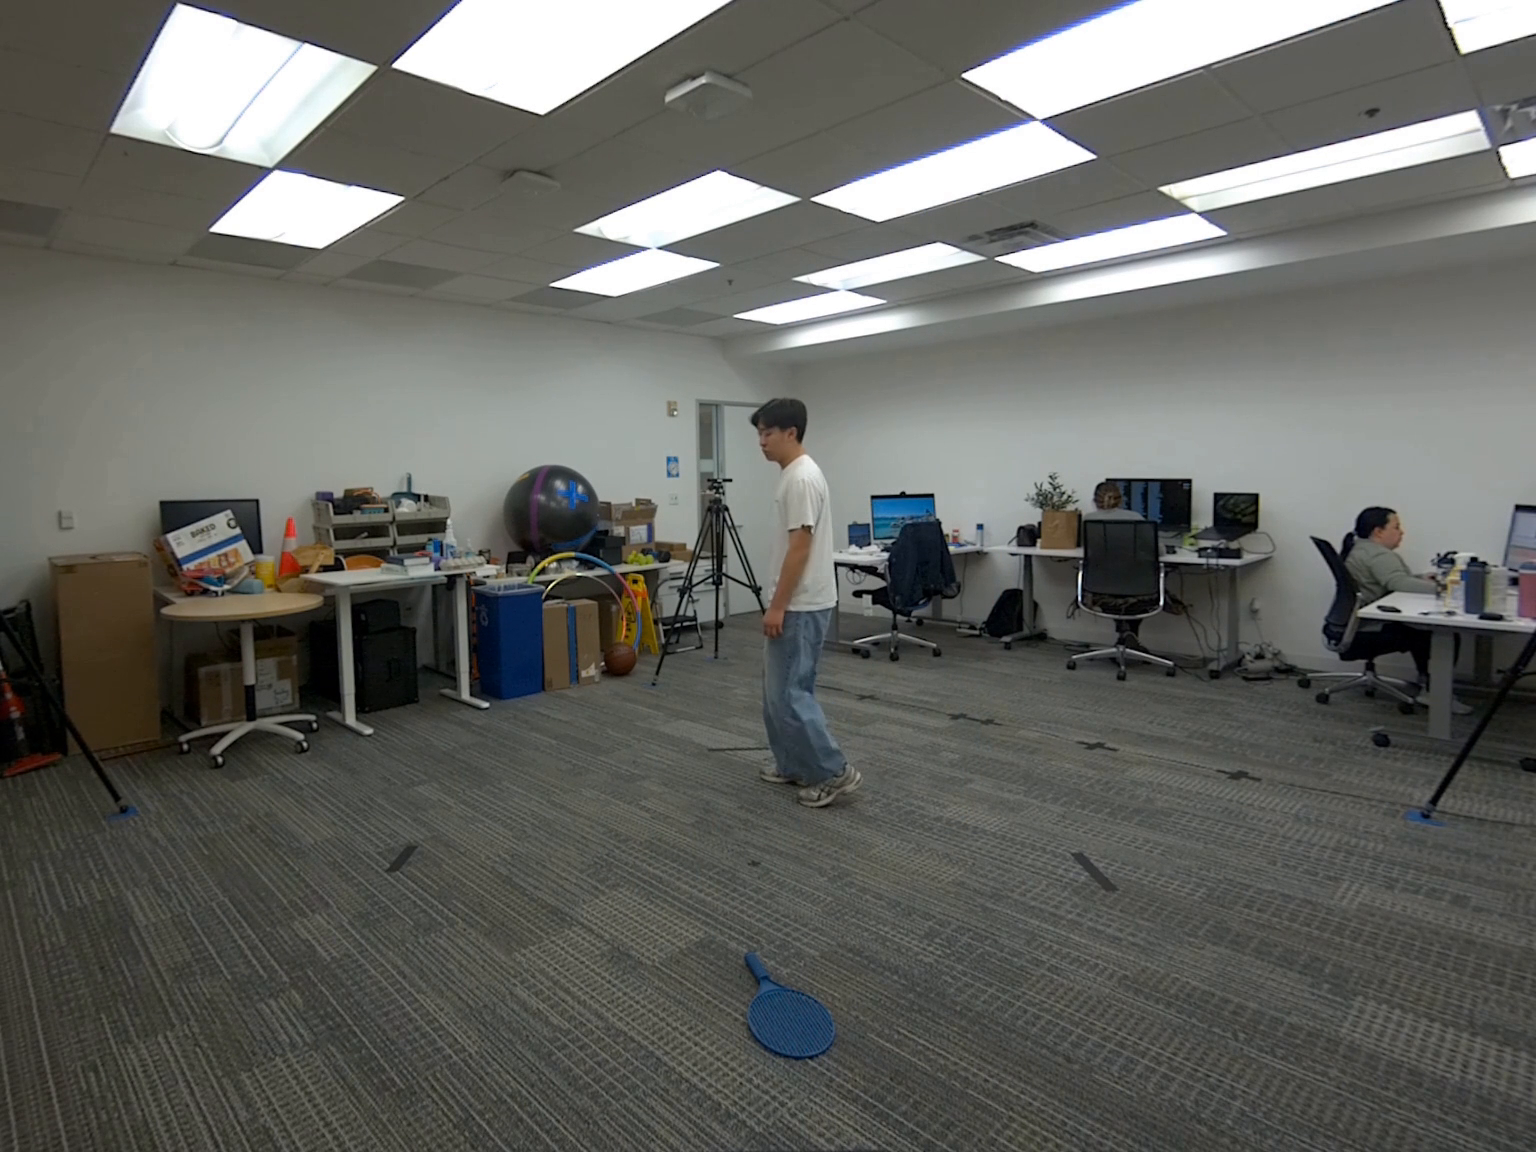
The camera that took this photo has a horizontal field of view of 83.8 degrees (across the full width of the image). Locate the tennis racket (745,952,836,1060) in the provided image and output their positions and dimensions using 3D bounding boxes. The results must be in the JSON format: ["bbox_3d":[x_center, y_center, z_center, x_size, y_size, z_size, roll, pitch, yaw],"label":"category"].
[{"bbox_3d":[0.037,1.126,2.267,0.210,0.031,0.442,-4,8,-19],"label":"tennis racket"}]
